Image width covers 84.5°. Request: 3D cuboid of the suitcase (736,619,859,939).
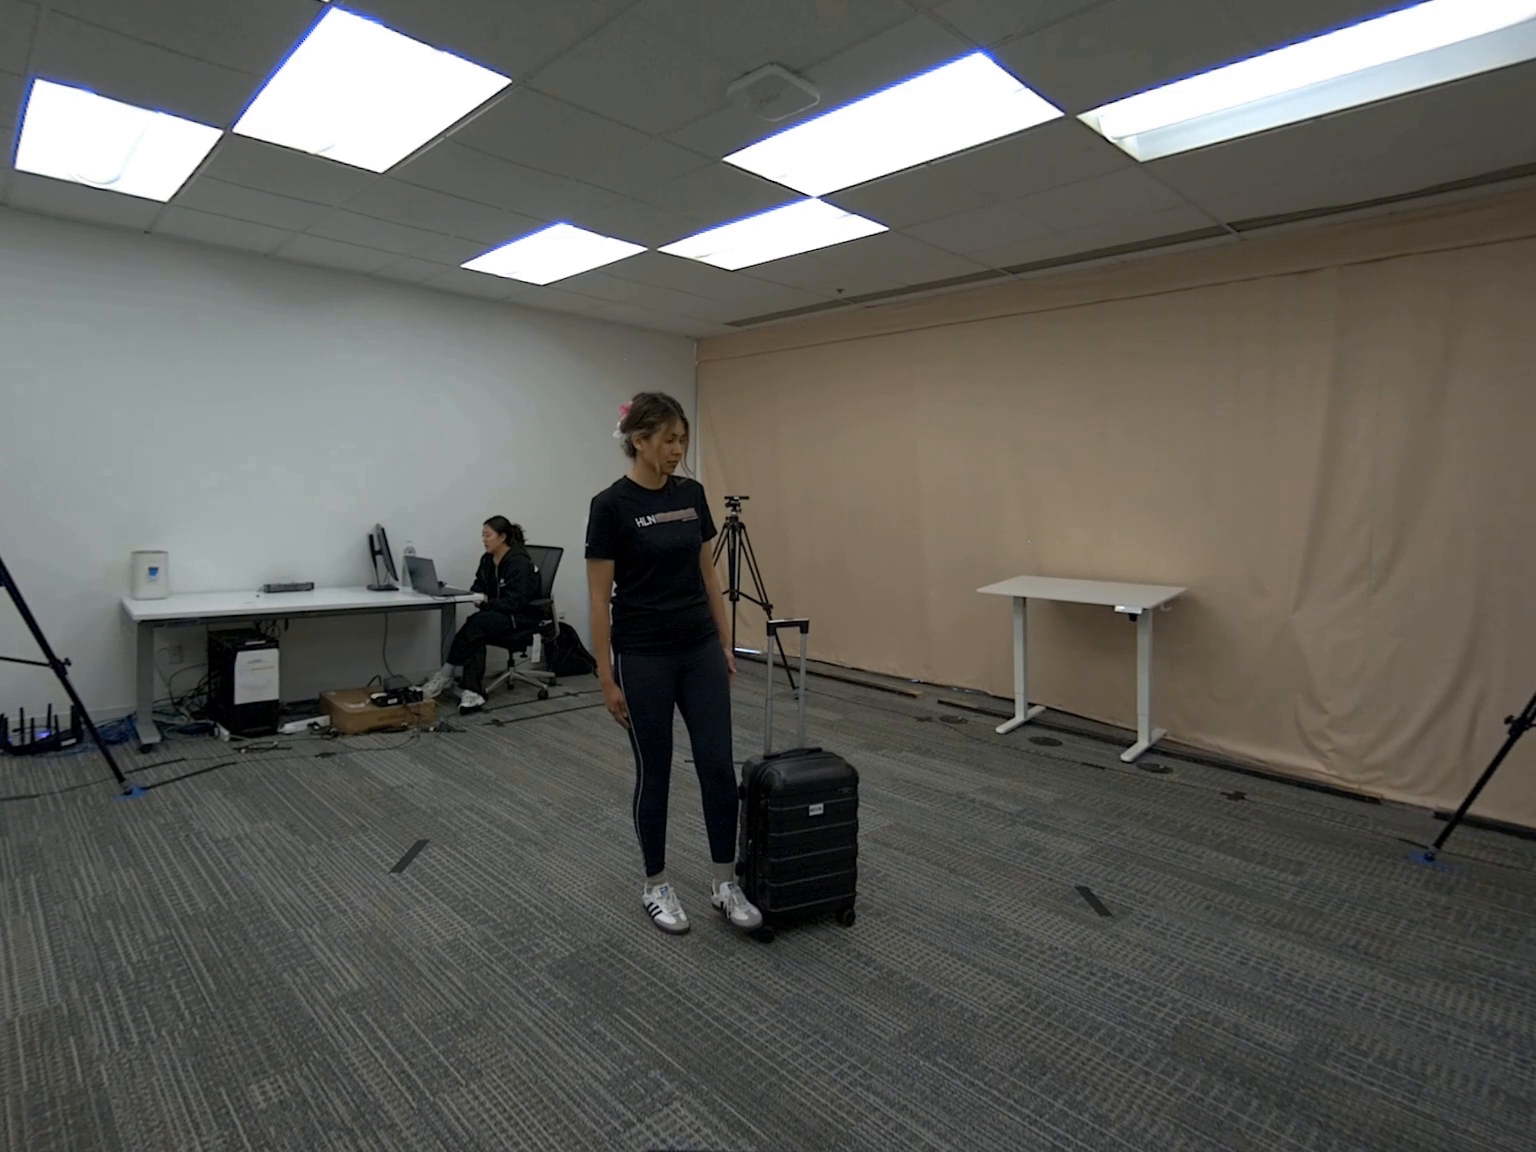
[{"bbox_3d":[0.107,0.663,2.773,0.377,0.976,0.262,0,4,-25],"label":"suitcase"}]
